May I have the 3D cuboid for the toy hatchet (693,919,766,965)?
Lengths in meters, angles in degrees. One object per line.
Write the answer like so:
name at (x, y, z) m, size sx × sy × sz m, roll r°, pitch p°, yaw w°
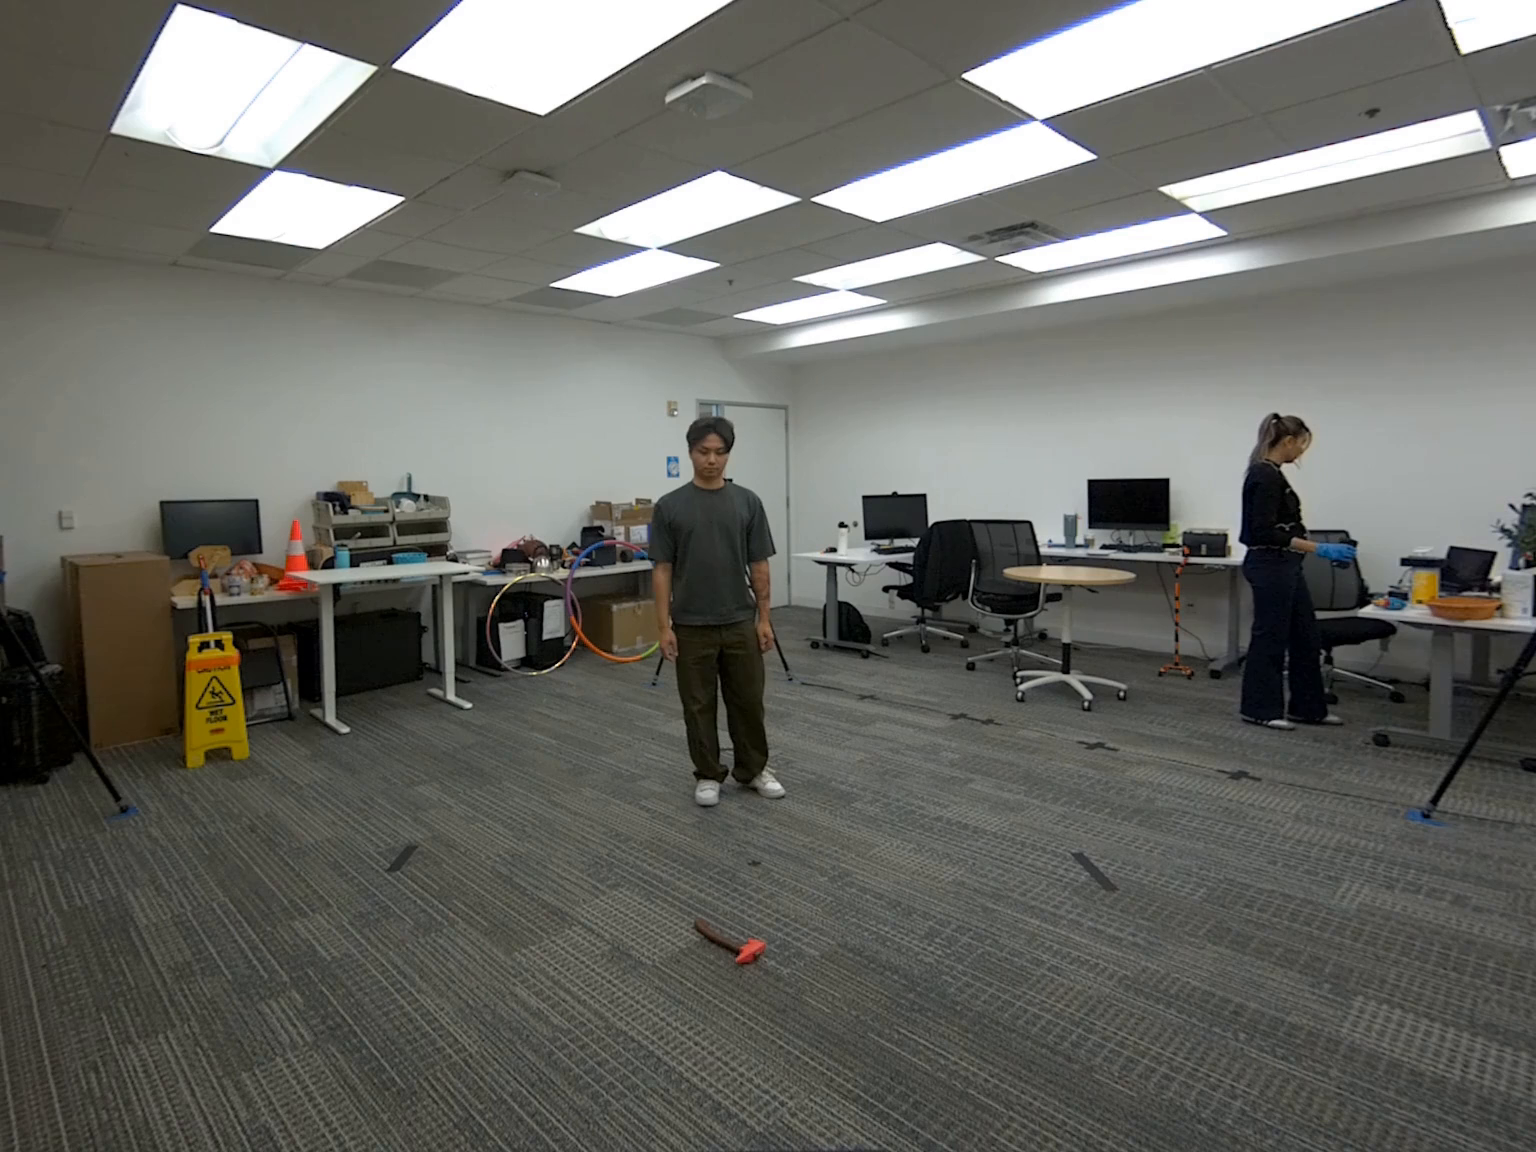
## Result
toy hatchet at (-0.105, 1.097, 2.584) m, size 0.128 × 0.029 × 0.277 m, roll -6°, pitch 7°, yaw -31°
